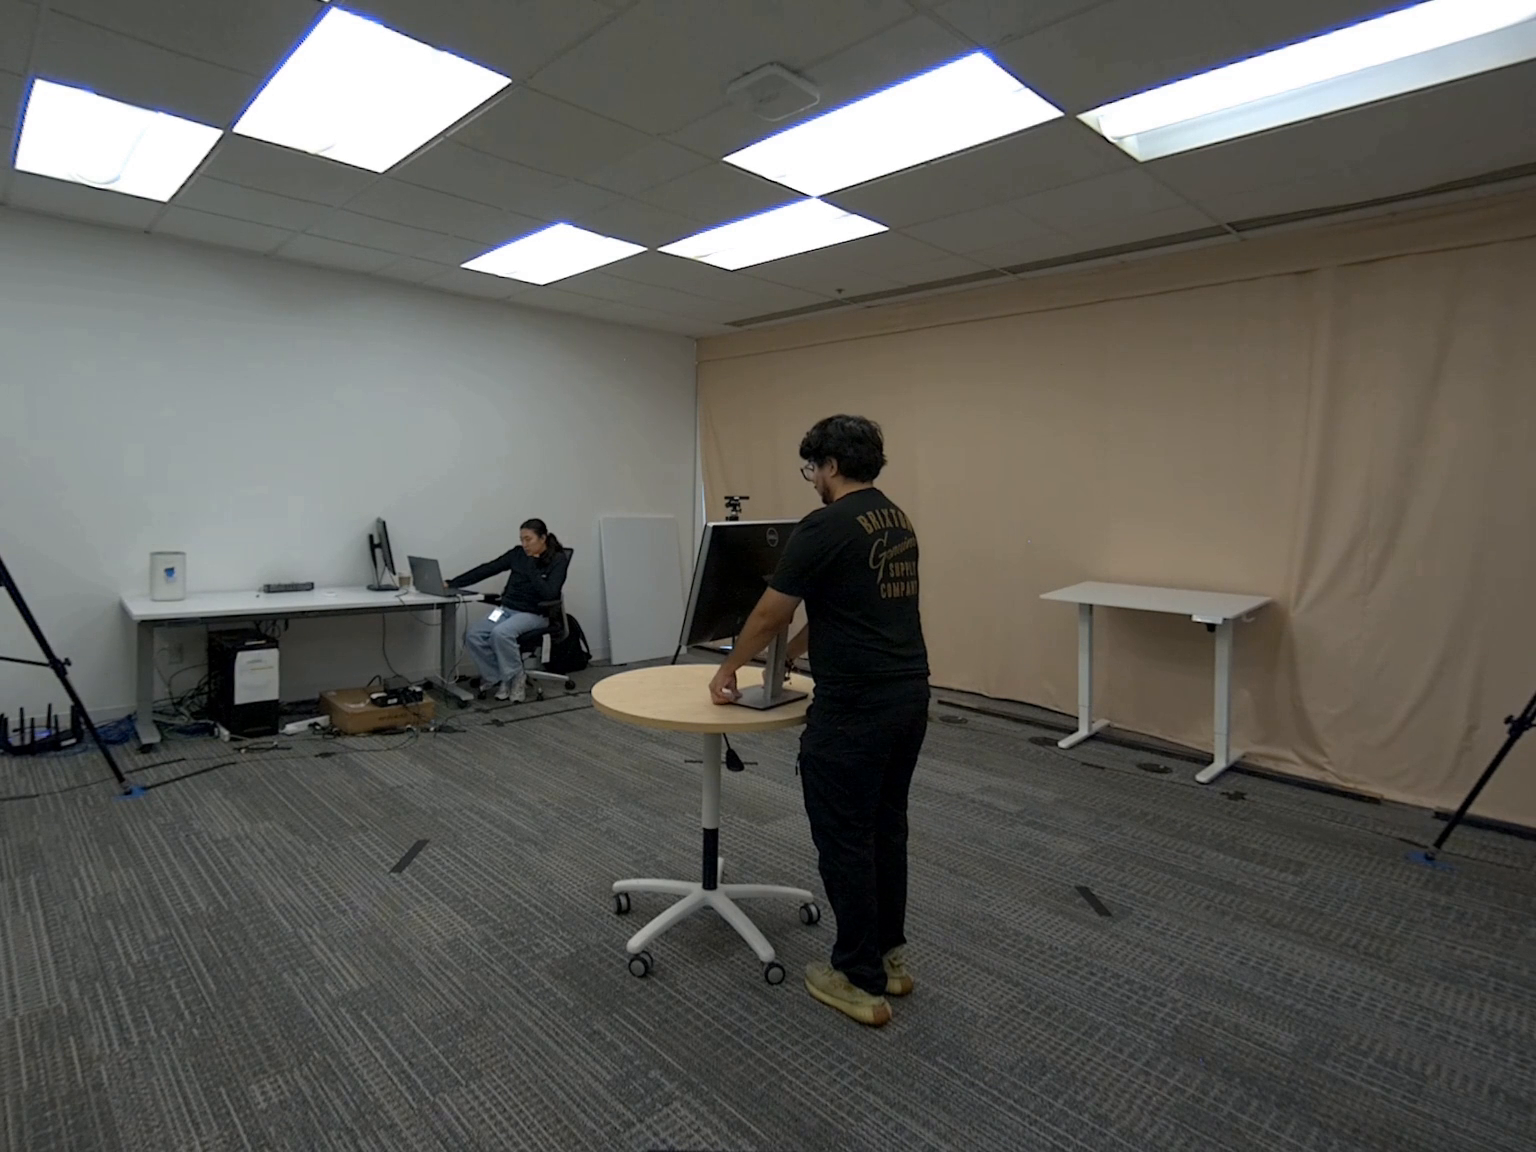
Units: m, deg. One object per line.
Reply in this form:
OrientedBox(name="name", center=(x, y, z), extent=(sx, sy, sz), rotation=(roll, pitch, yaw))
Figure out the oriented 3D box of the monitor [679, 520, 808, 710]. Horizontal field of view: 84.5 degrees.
OrientedBox(name="monitor", center=(-0.001, 0.112, 2.532), extent=(0.216, 0.551, 0.553), rotation=(13, 10, 36))
